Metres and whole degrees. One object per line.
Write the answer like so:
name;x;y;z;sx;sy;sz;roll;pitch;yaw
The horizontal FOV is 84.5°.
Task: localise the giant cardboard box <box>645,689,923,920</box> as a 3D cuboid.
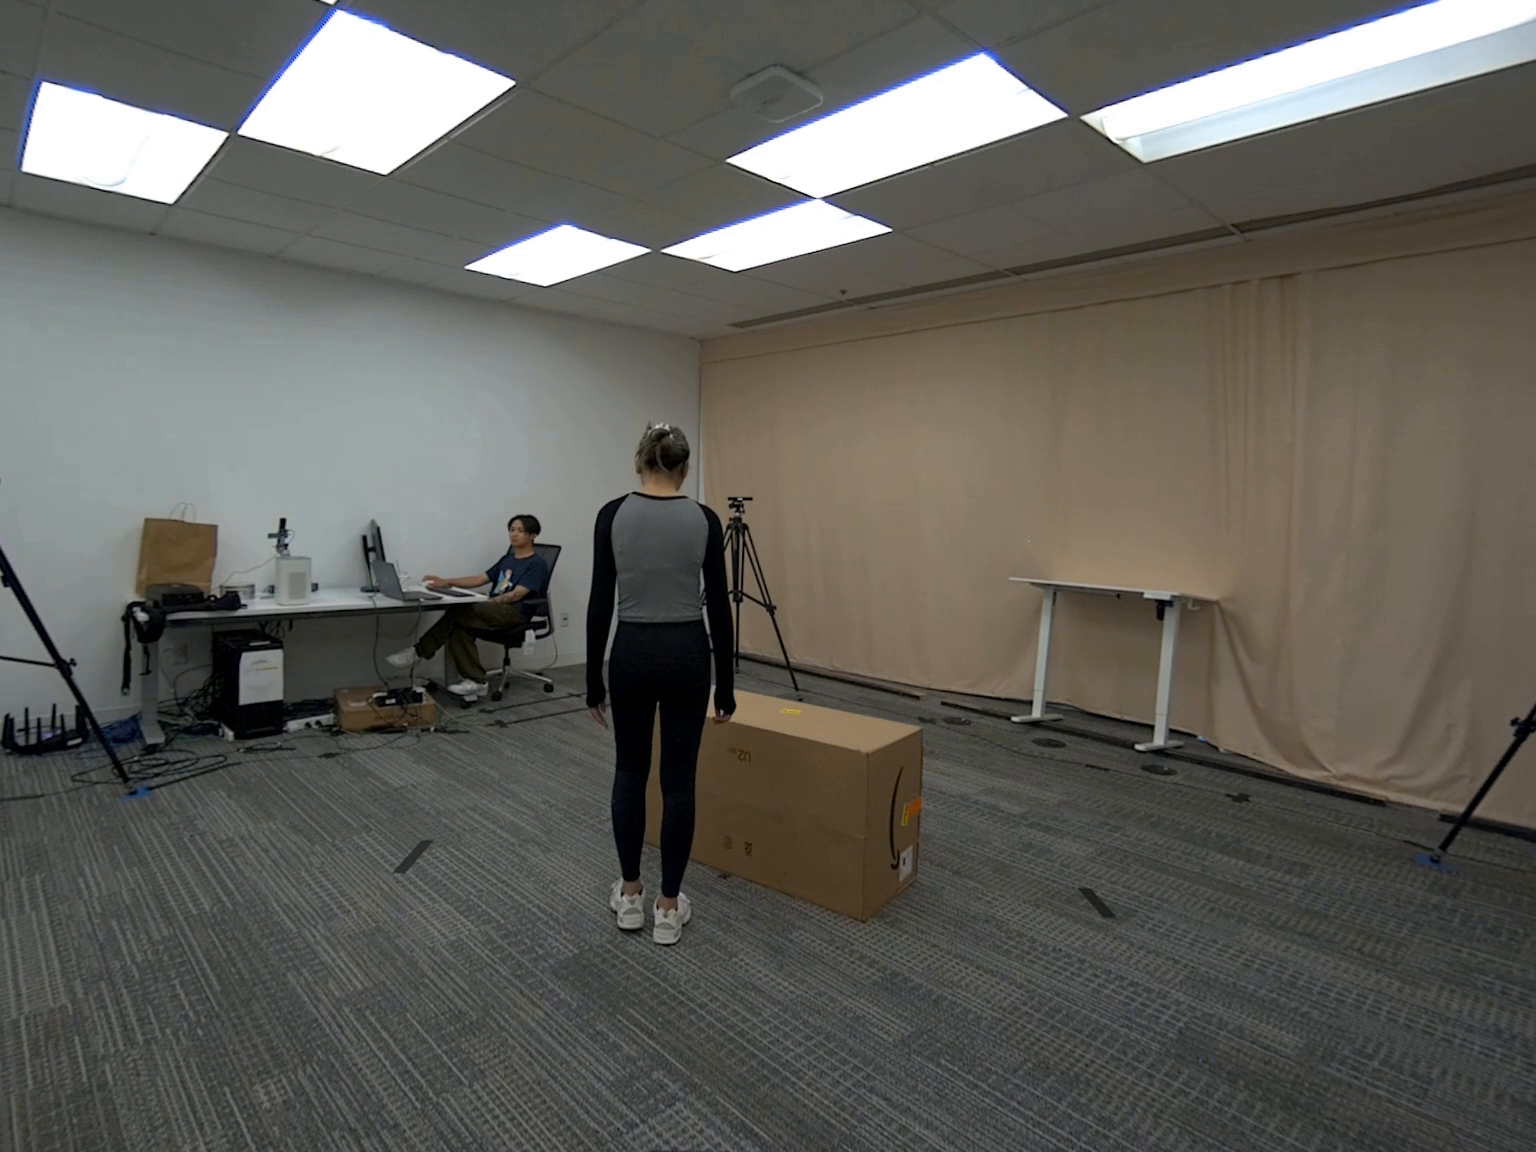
giant cardboard box;0.022;0.813;3.243;1.051;0.576;0.417;5;6;37
